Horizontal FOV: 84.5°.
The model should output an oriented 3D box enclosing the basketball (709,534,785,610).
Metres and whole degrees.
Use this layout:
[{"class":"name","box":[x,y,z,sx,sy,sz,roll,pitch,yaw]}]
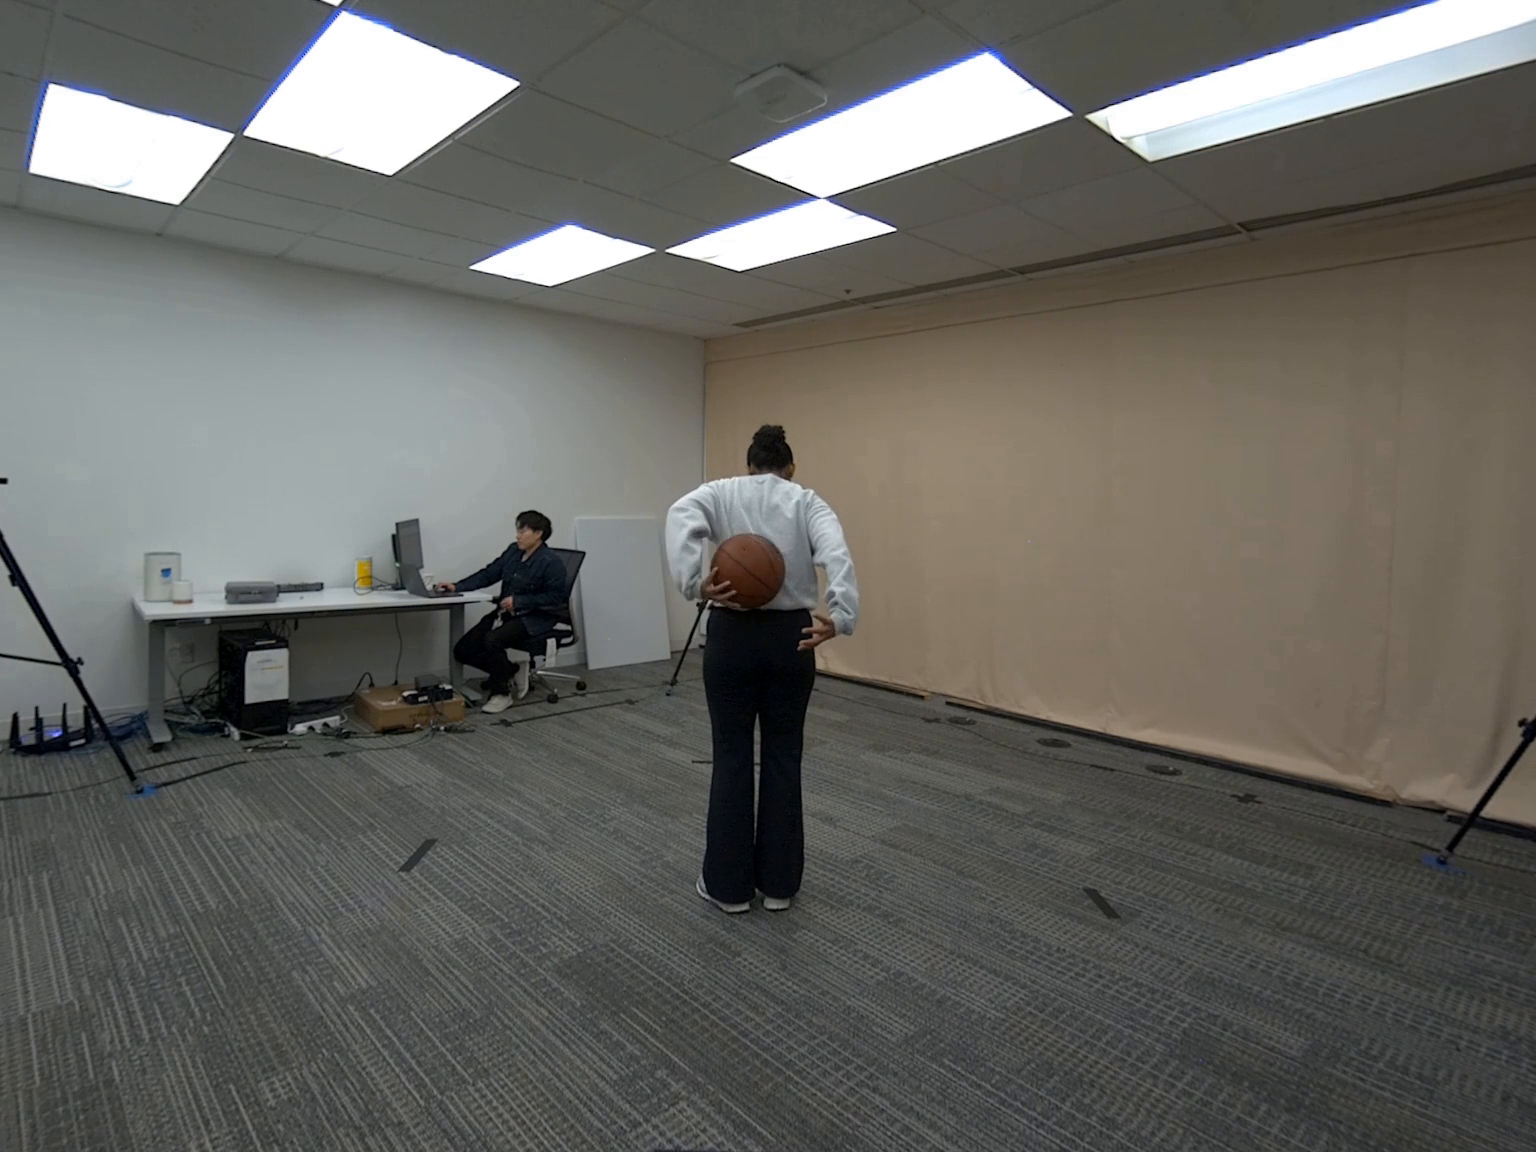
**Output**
[{"class":"basketball","box":[-0.066,-0.012,2.681,0.236,0.235,0.237,1,4,-1]}]
